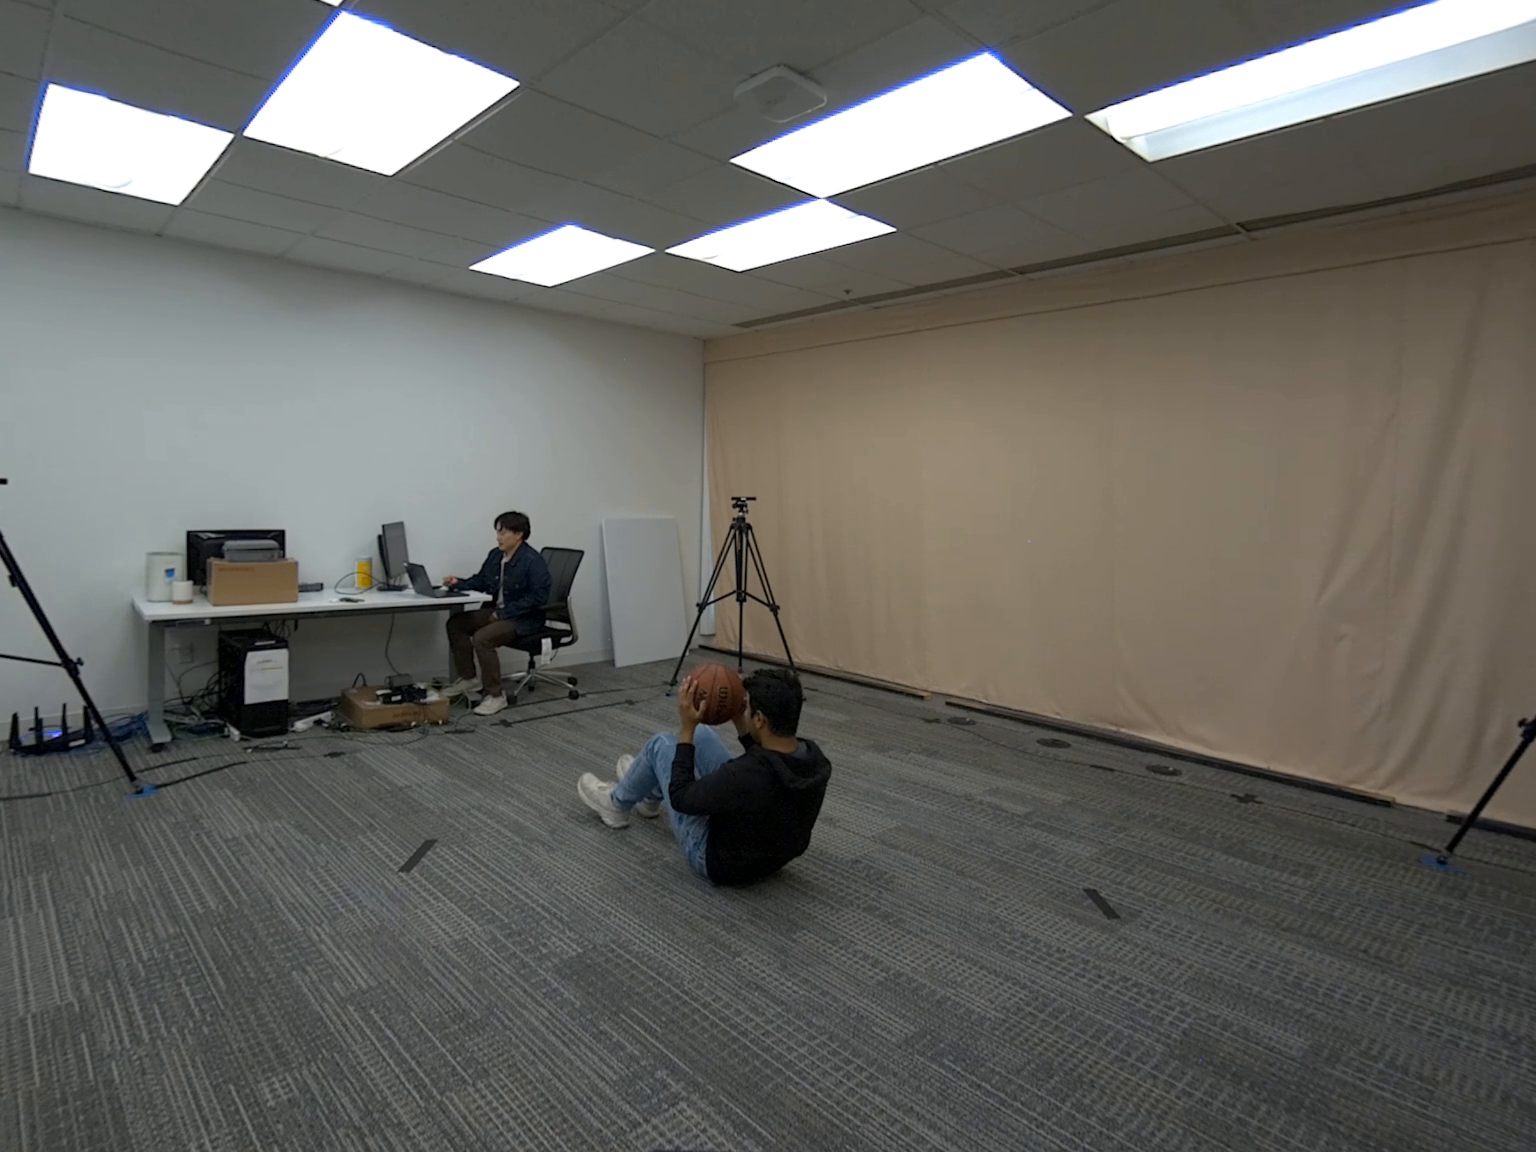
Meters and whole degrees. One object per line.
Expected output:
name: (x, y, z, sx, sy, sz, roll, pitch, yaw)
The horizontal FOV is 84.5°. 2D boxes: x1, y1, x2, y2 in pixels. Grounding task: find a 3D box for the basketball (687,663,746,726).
basketball: (-0.210, 0.447, 3.191, 0.236, 0.235, 0.237, 1, 4, -1)
